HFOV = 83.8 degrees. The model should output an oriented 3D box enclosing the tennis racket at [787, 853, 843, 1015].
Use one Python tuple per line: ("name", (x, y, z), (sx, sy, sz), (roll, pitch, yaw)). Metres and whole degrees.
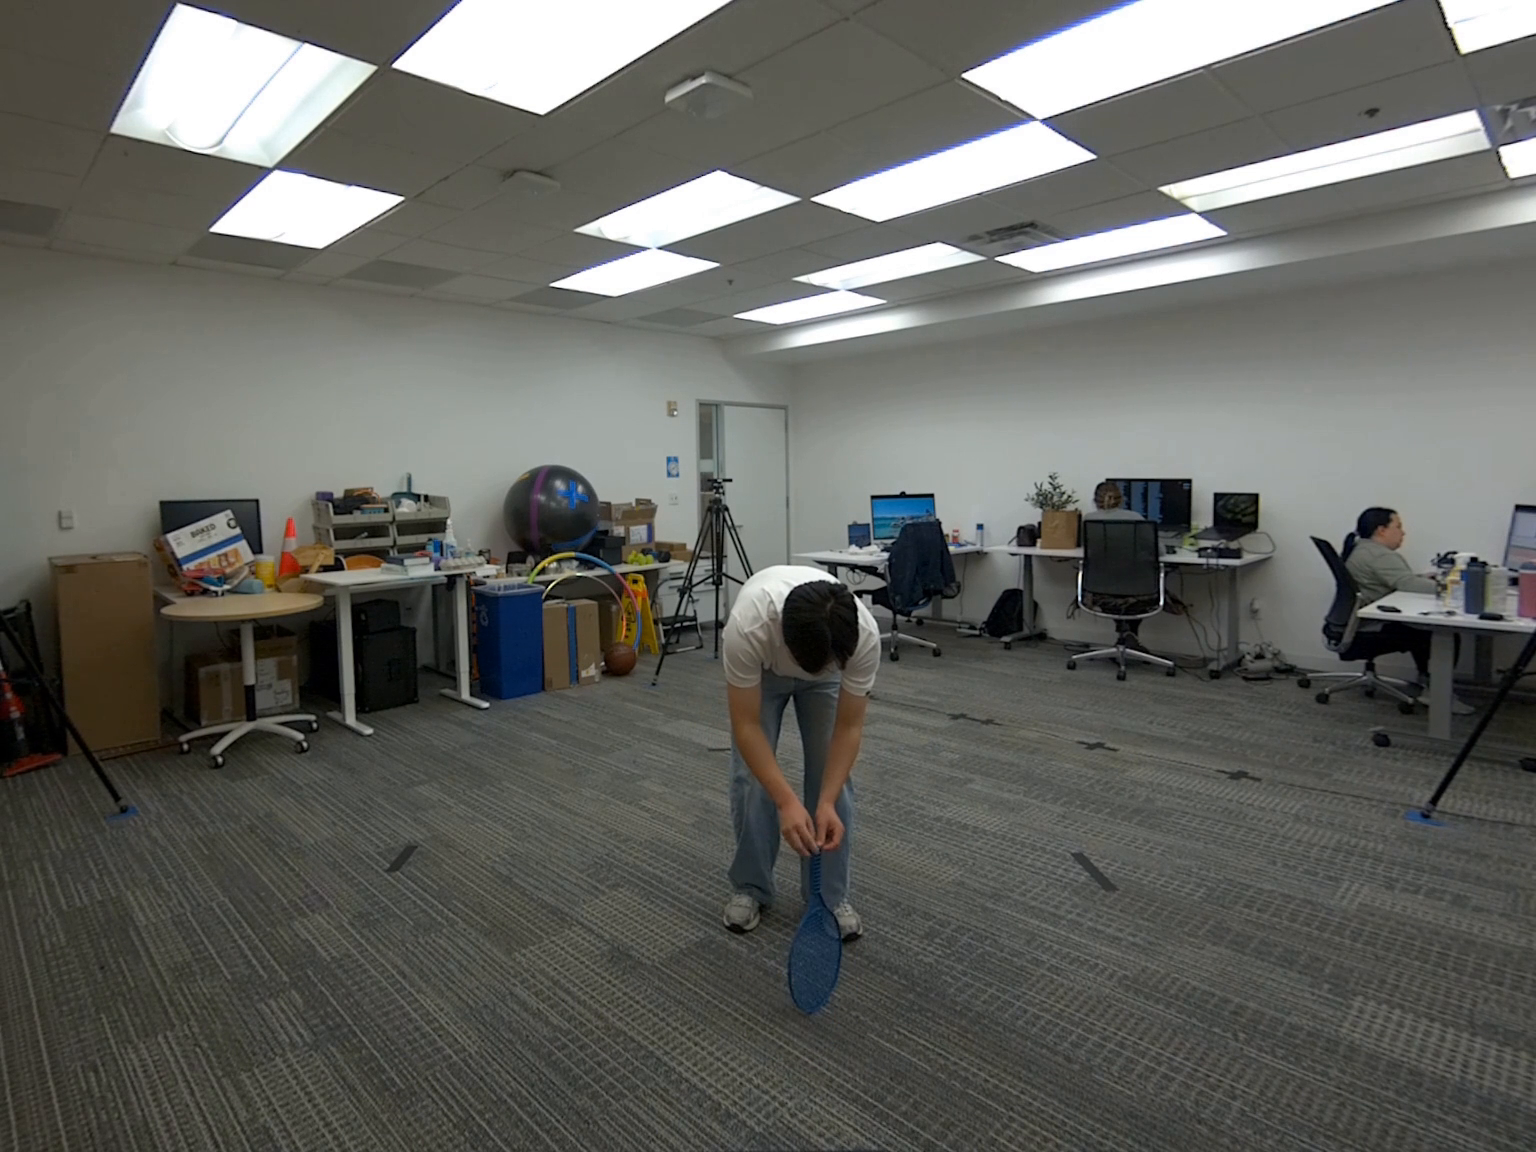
("tennis racket", (0.131, 0.931, 2.246), (0.032, 0.434, 0.207), (-2, -3, 43))
